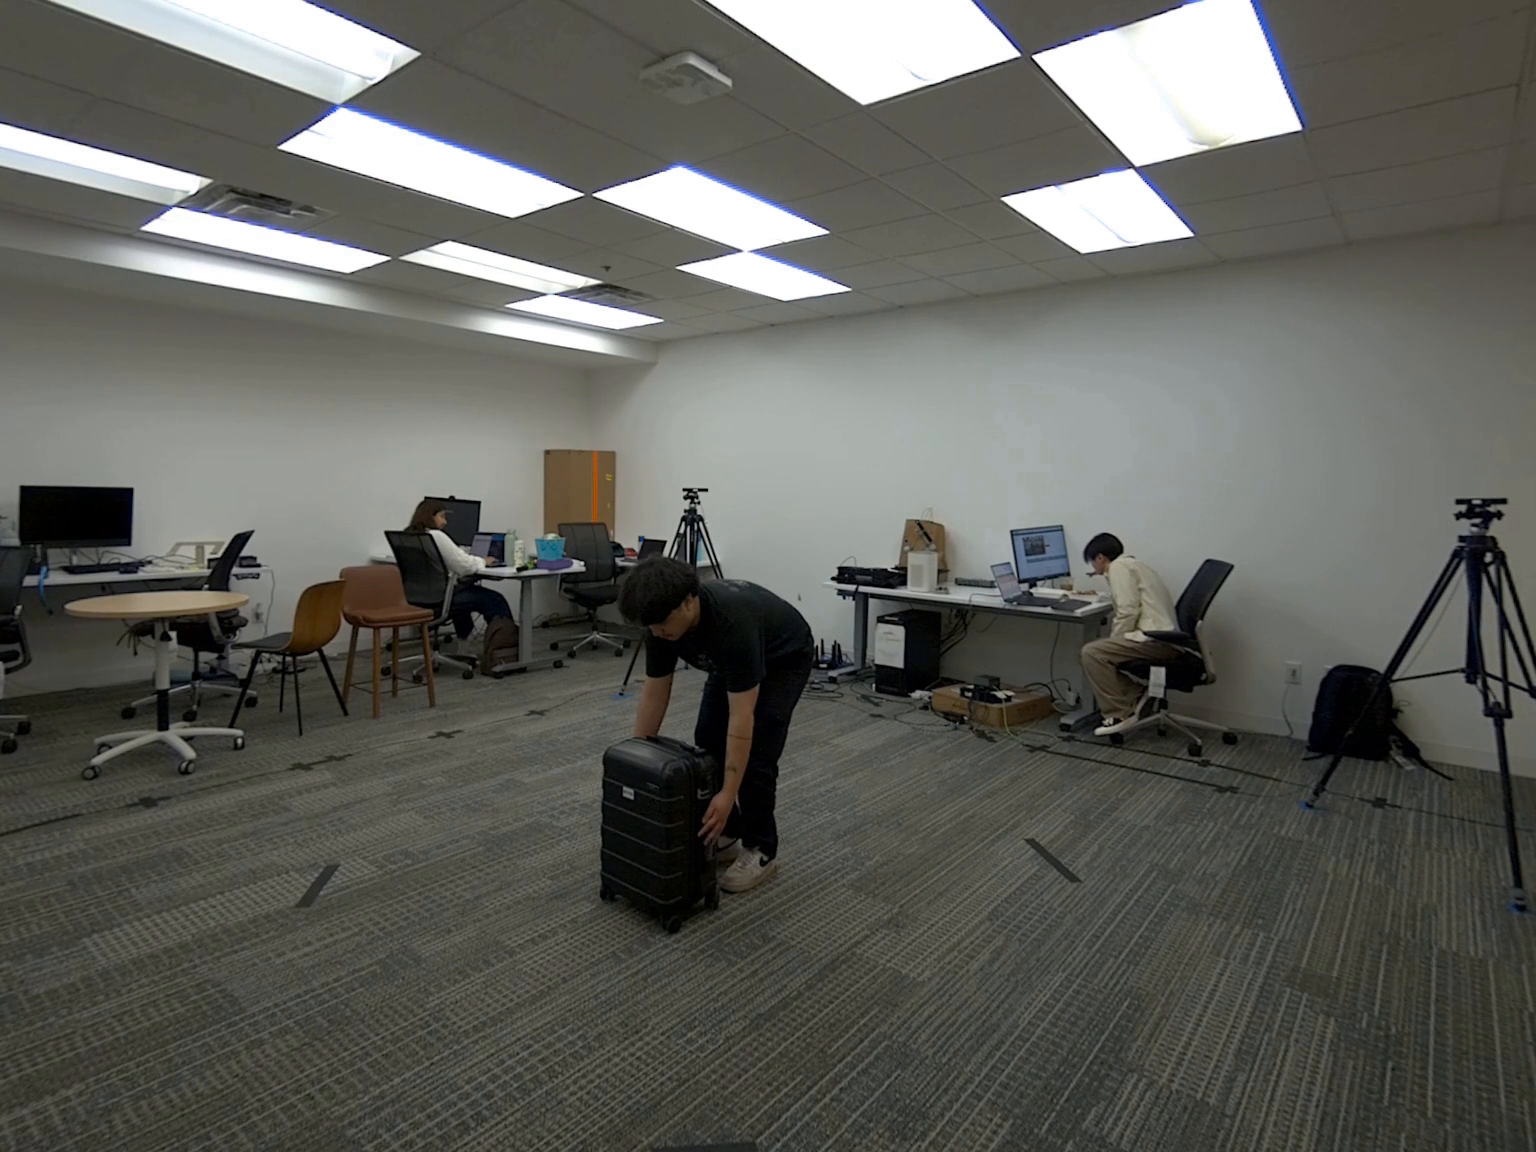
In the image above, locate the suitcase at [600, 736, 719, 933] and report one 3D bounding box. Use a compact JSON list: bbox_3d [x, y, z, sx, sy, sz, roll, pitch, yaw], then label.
[{"bbox_3d":[-0.377,0.828,2.796,0.388,0.547,0.241,5,6,41],"label":"suitcase"}]
